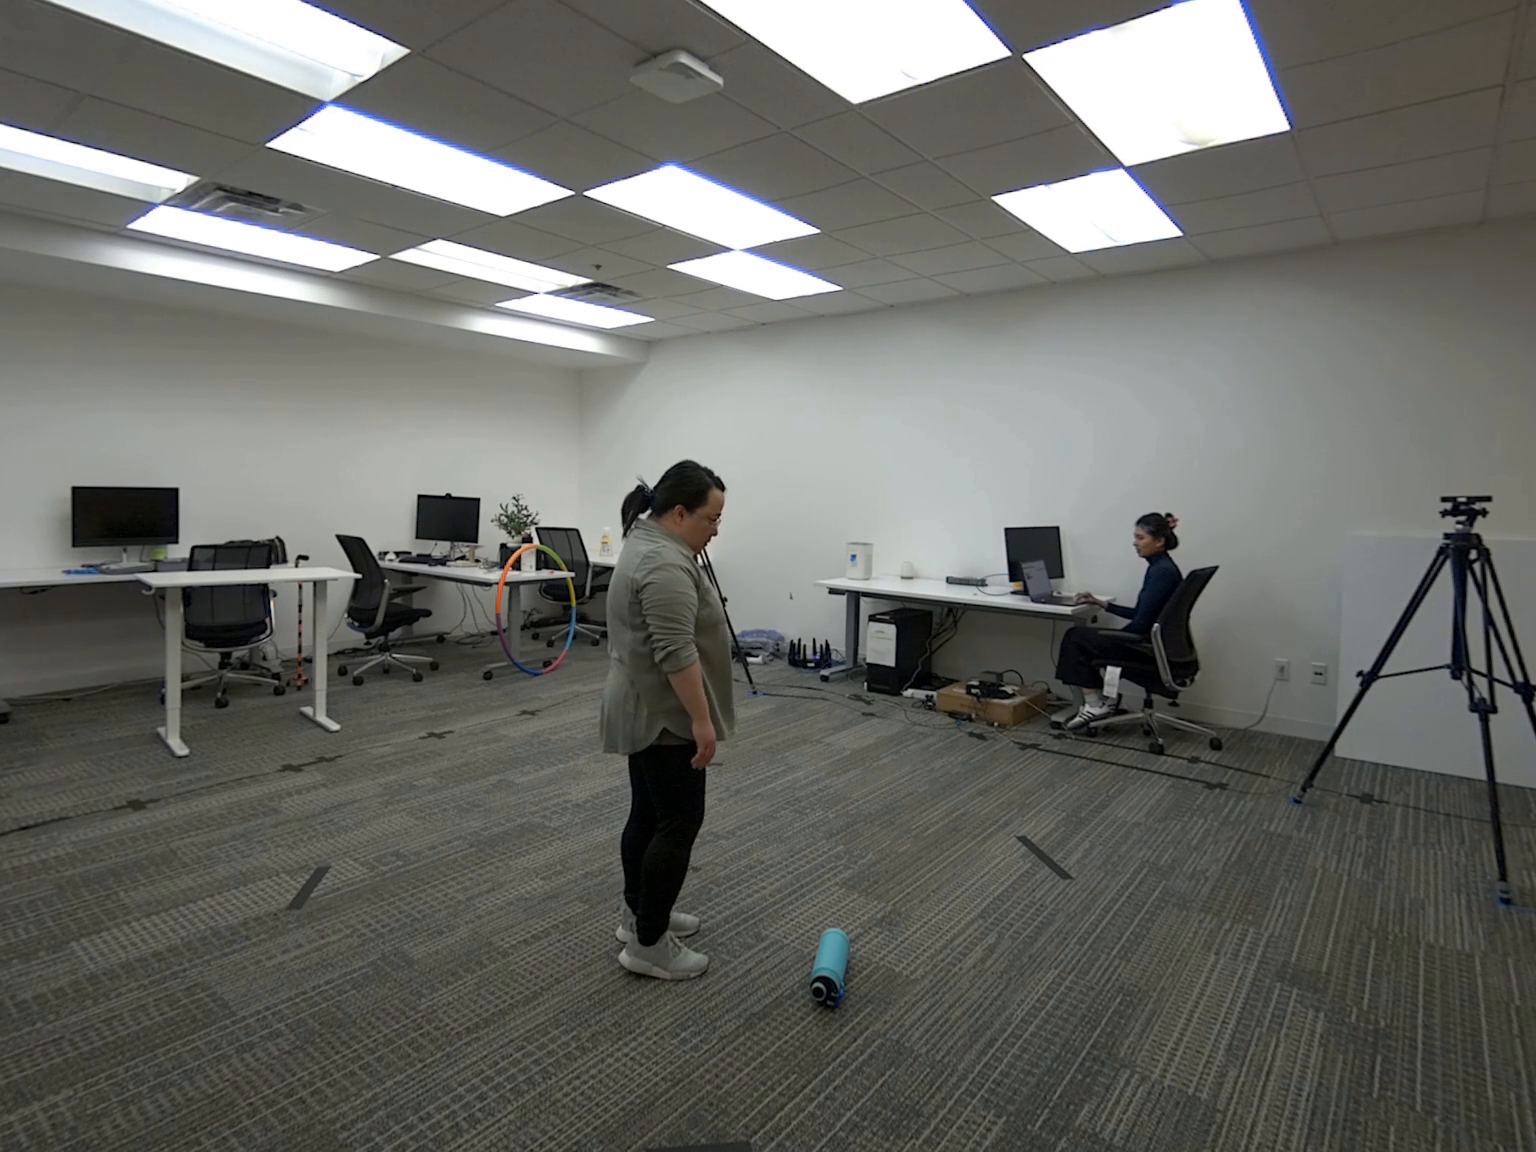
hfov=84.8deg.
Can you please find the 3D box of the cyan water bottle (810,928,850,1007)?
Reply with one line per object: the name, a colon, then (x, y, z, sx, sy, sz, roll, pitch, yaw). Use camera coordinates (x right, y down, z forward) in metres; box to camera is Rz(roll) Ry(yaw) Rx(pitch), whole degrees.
cyan water bottle: (0.171, 1.101, 2.394, 0.093, 0.092, 0.281, 2, 6, 10)
